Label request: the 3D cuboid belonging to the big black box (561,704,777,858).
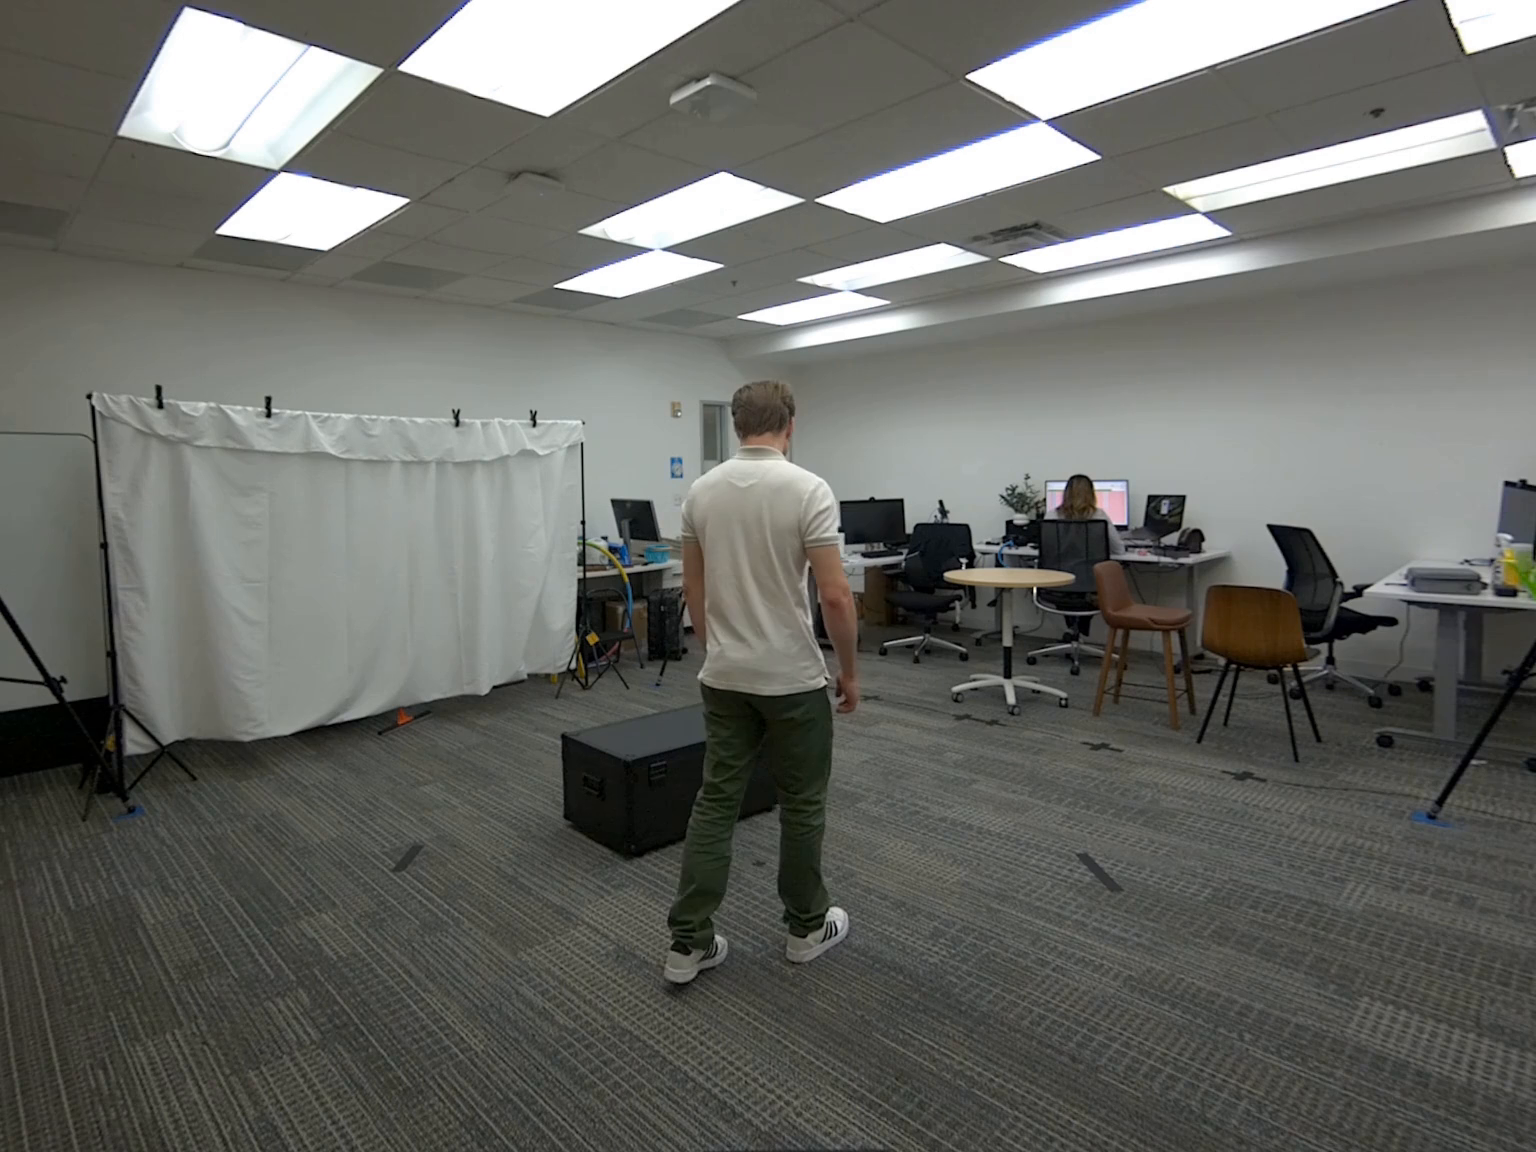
[{"bbox_3d":[-0.370,0.810,3.577,0.839,0.394,0.537,-7,8,-42],"label":"big black box"}]
